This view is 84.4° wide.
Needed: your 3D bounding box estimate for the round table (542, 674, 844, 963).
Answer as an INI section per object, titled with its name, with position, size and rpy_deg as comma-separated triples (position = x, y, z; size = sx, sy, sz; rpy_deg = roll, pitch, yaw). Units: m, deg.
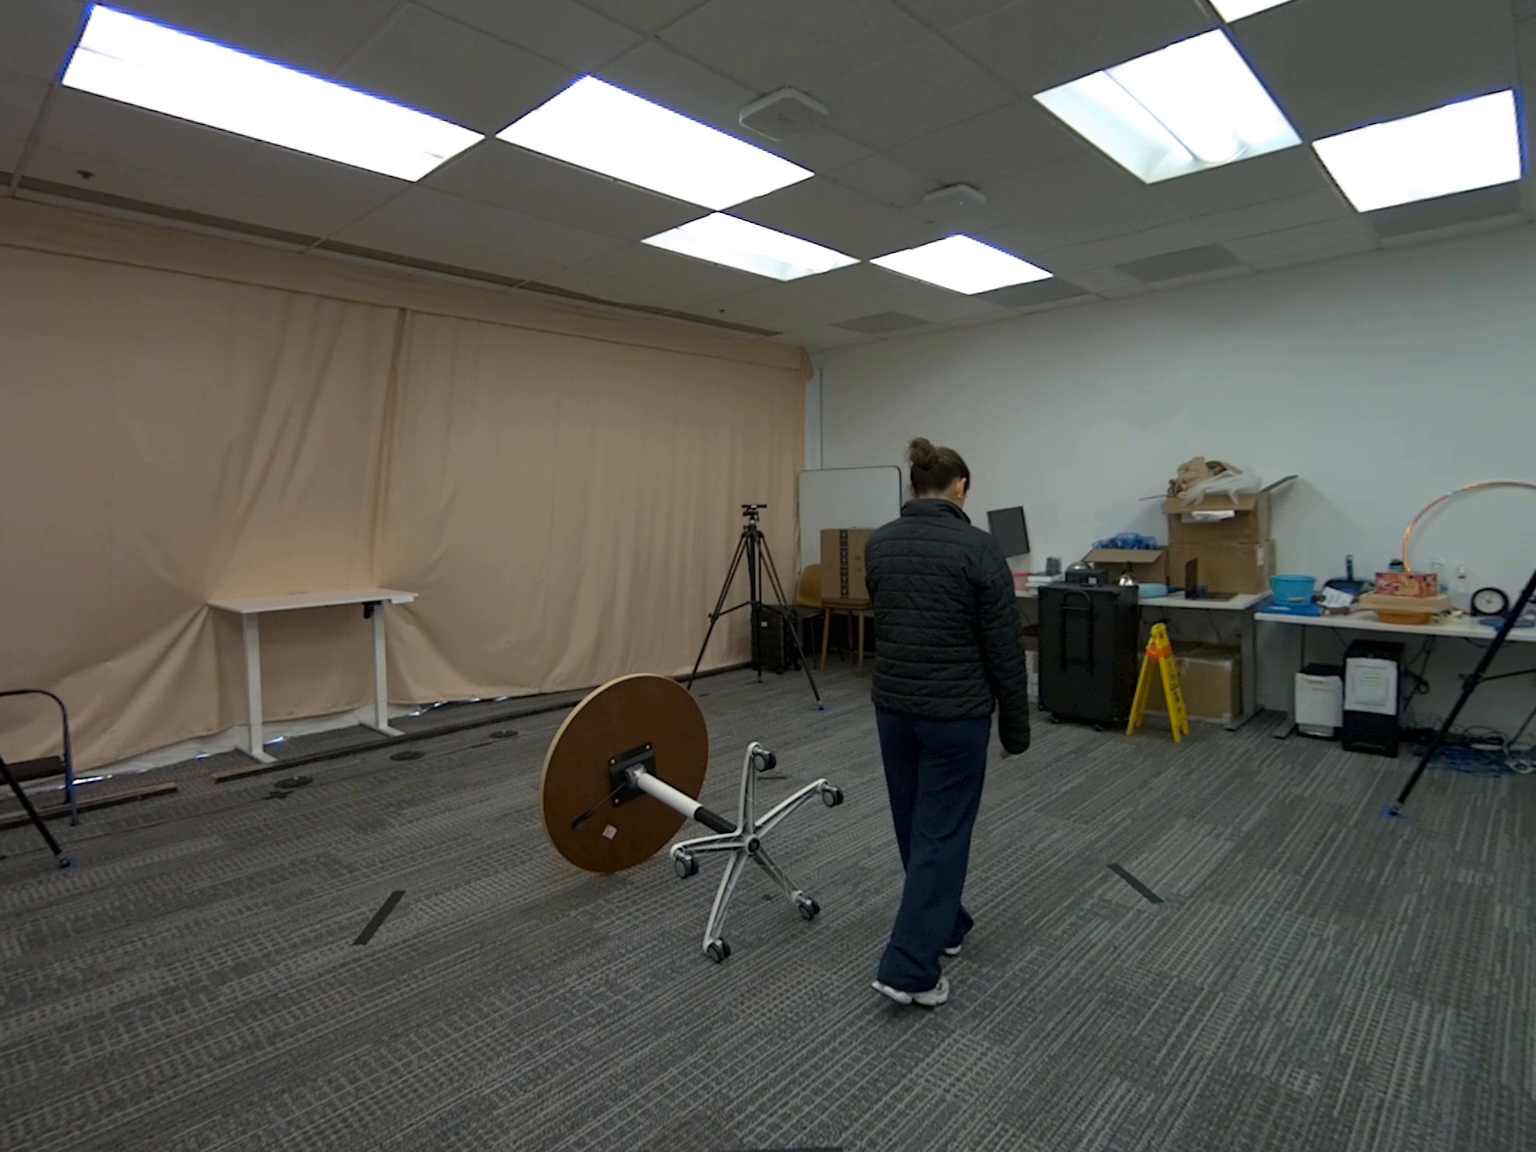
[round table]
position = -0.251, 0.813, 2.925
size = 0.761, 0.781, 0.814
rpy_deg = -4, 10, -42
